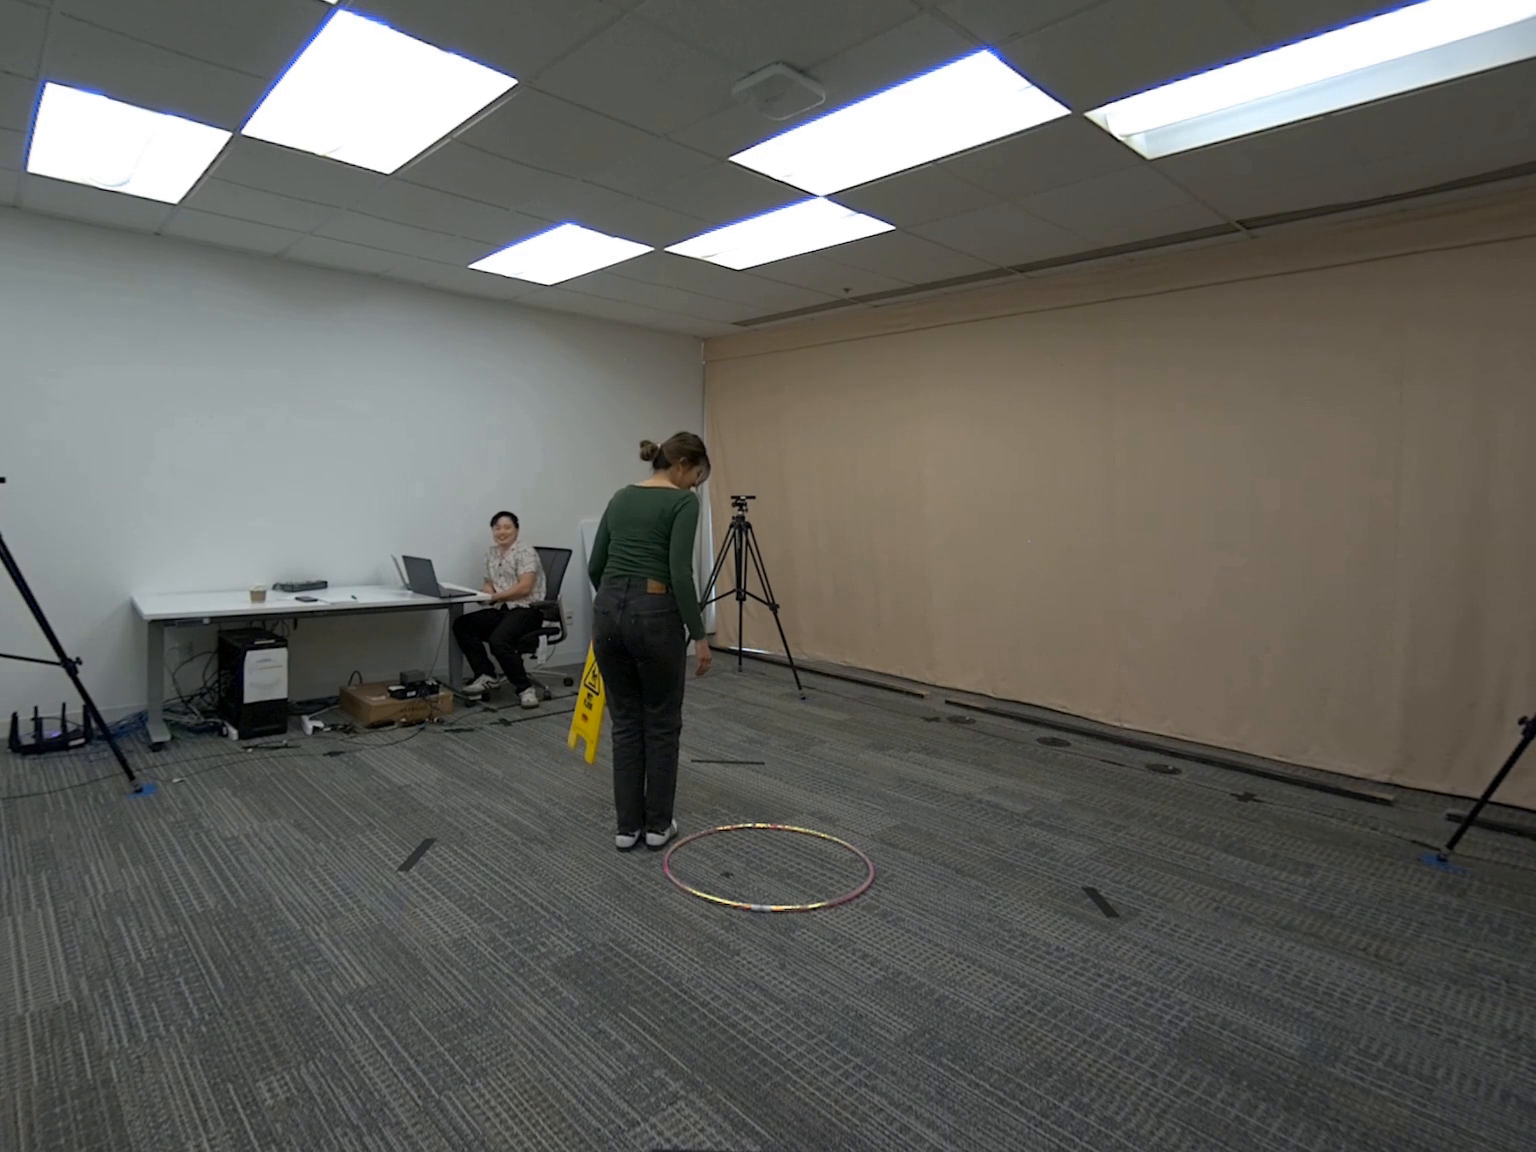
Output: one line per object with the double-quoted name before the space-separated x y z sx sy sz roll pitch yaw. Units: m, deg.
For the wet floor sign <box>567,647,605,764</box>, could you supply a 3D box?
"wet floor sign" -0.697 0.451 3.696 0.284 0.642 0.290 -3 9 -33
